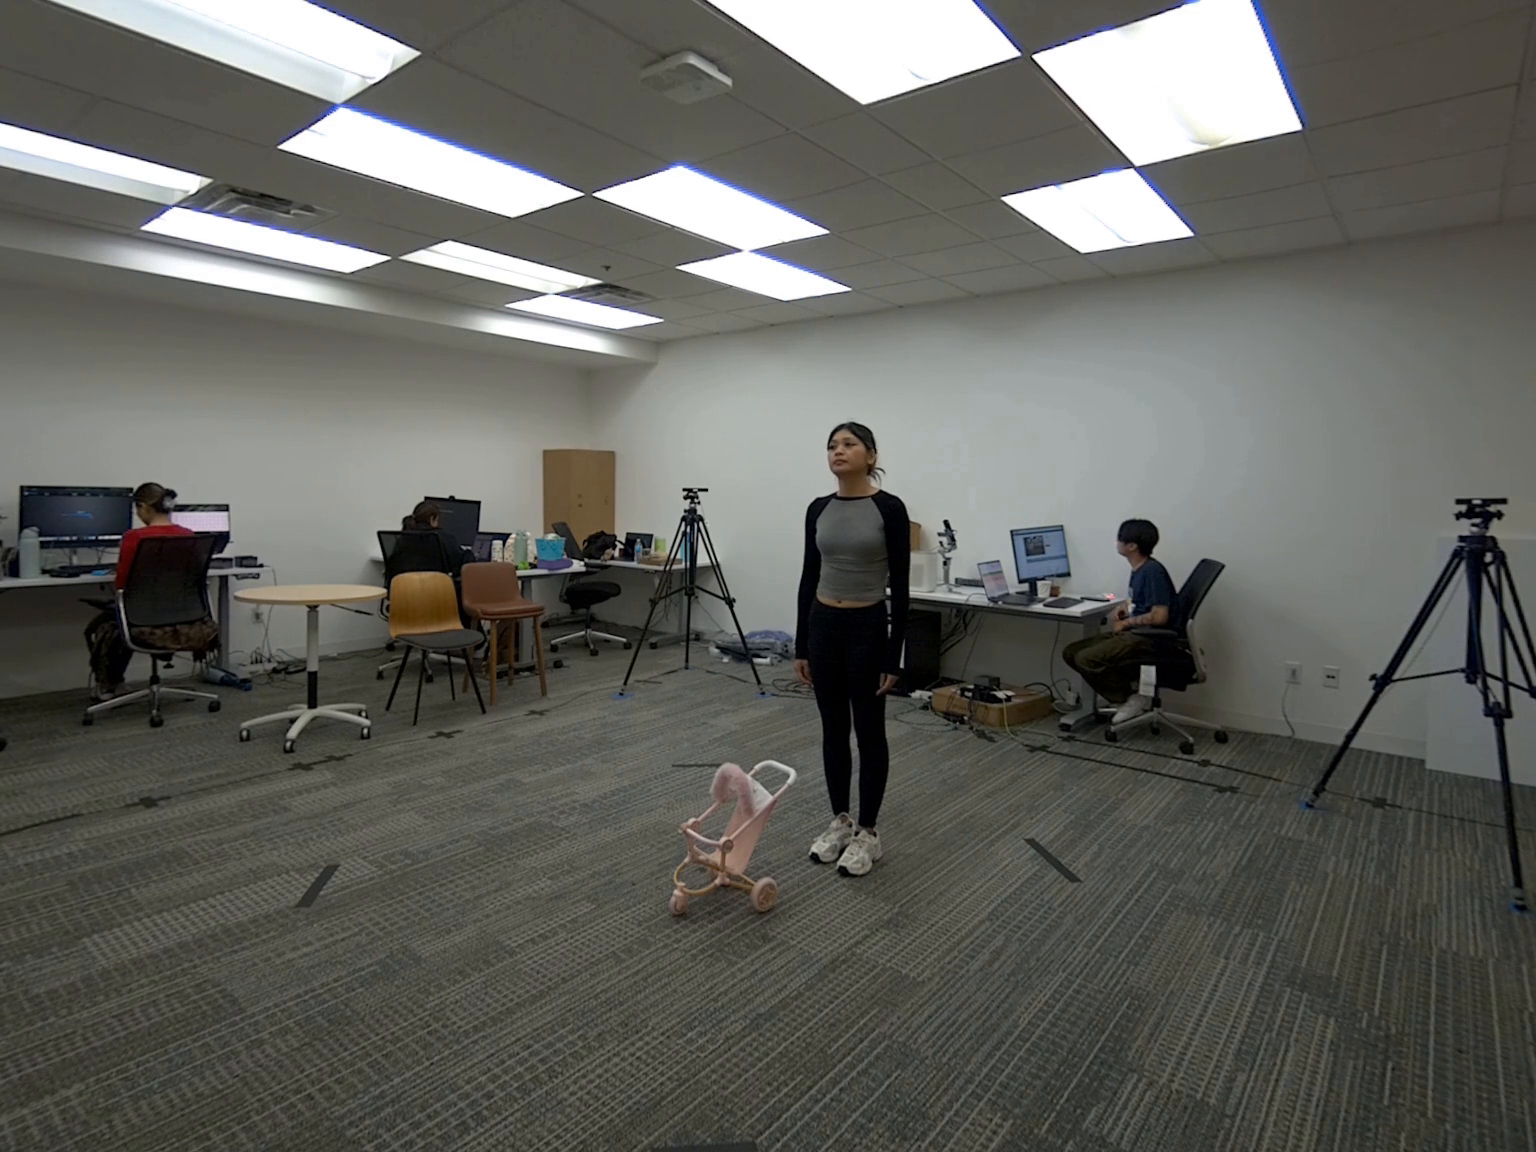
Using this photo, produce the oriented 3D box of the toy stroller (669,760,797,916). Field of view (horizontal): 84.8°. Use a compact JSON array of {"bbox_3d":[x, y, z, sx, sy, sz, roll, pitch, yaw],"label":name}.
[{"bbox_3d":[-0.141,0.871,2.865,0.329,0.537,0.290,19,-6,-32],"label":"toy stroller"}]
